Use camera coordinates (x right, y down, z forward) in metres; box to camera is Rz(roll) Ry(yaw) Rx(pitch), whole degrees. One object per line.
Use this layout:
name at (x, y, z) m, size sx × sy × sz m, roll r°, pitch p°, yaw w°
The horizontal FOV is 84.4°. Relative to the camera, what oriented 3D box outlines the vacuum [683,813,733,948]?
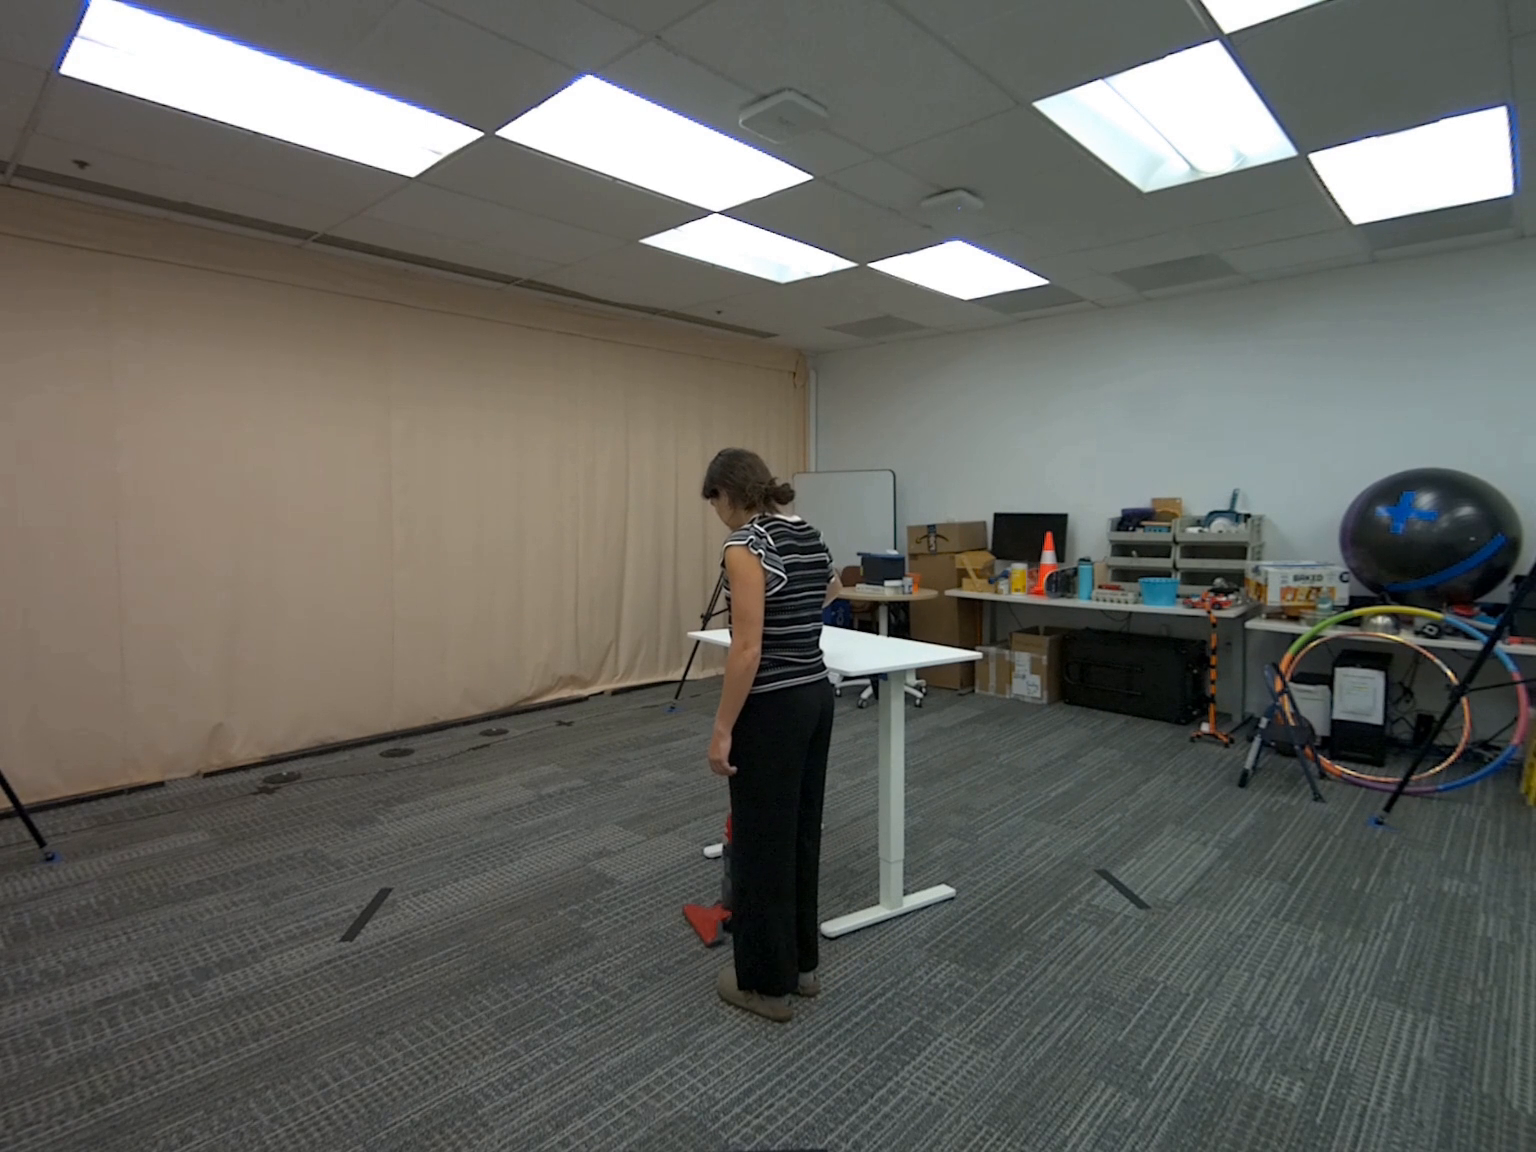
vacuum at (-0.042, 0.674, 2.793) m, size 0.140 × 1.049 × 0.260 m, roll 16°, pitch 0°, yaw -27°
